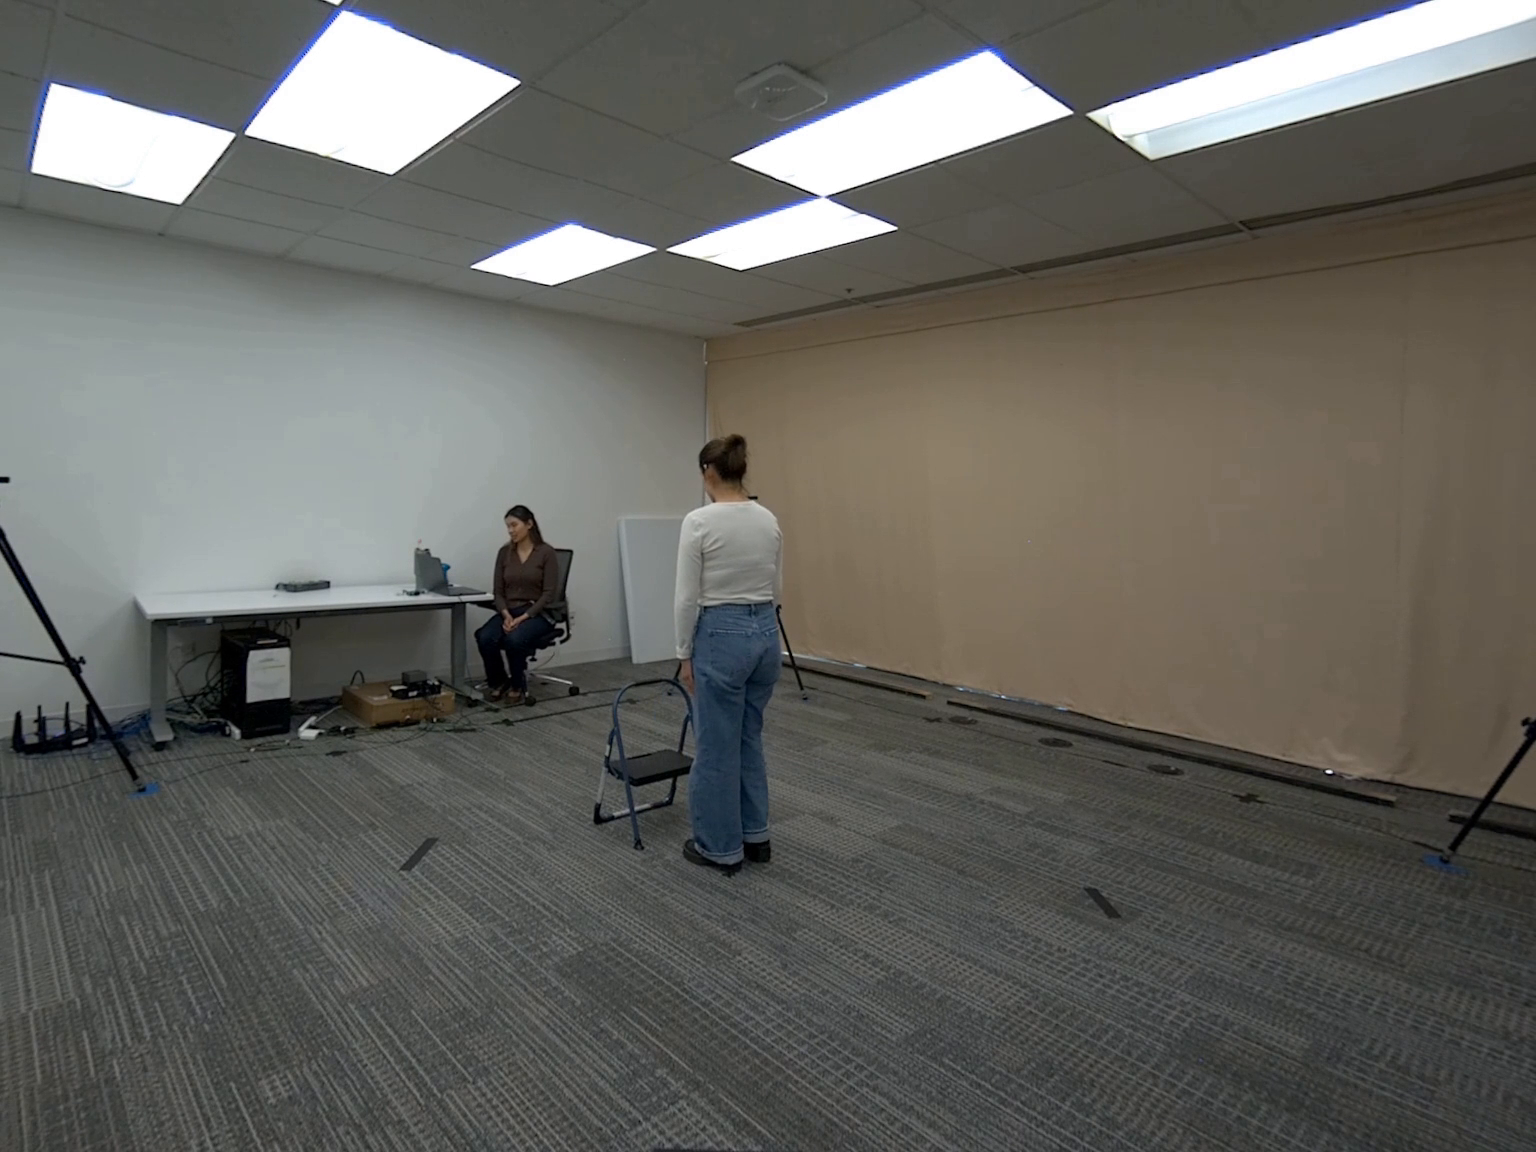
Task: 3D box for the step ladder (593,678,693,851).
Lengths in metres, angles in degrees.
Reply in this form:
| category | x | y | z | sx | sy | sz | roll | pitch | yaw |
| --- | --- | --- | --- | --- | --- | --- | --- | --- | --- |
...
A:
| category | x | y | z | sx | sy | sz | roll | pitch | yaw |
| --- | --- | --- | --- | --- | --- | --- | --- | --- | --- |
| step ladder | -0.473 | 0.753 | 3.554 | 0.420 | 0.605 | 0.358 | -1 | 5 | -44 |
